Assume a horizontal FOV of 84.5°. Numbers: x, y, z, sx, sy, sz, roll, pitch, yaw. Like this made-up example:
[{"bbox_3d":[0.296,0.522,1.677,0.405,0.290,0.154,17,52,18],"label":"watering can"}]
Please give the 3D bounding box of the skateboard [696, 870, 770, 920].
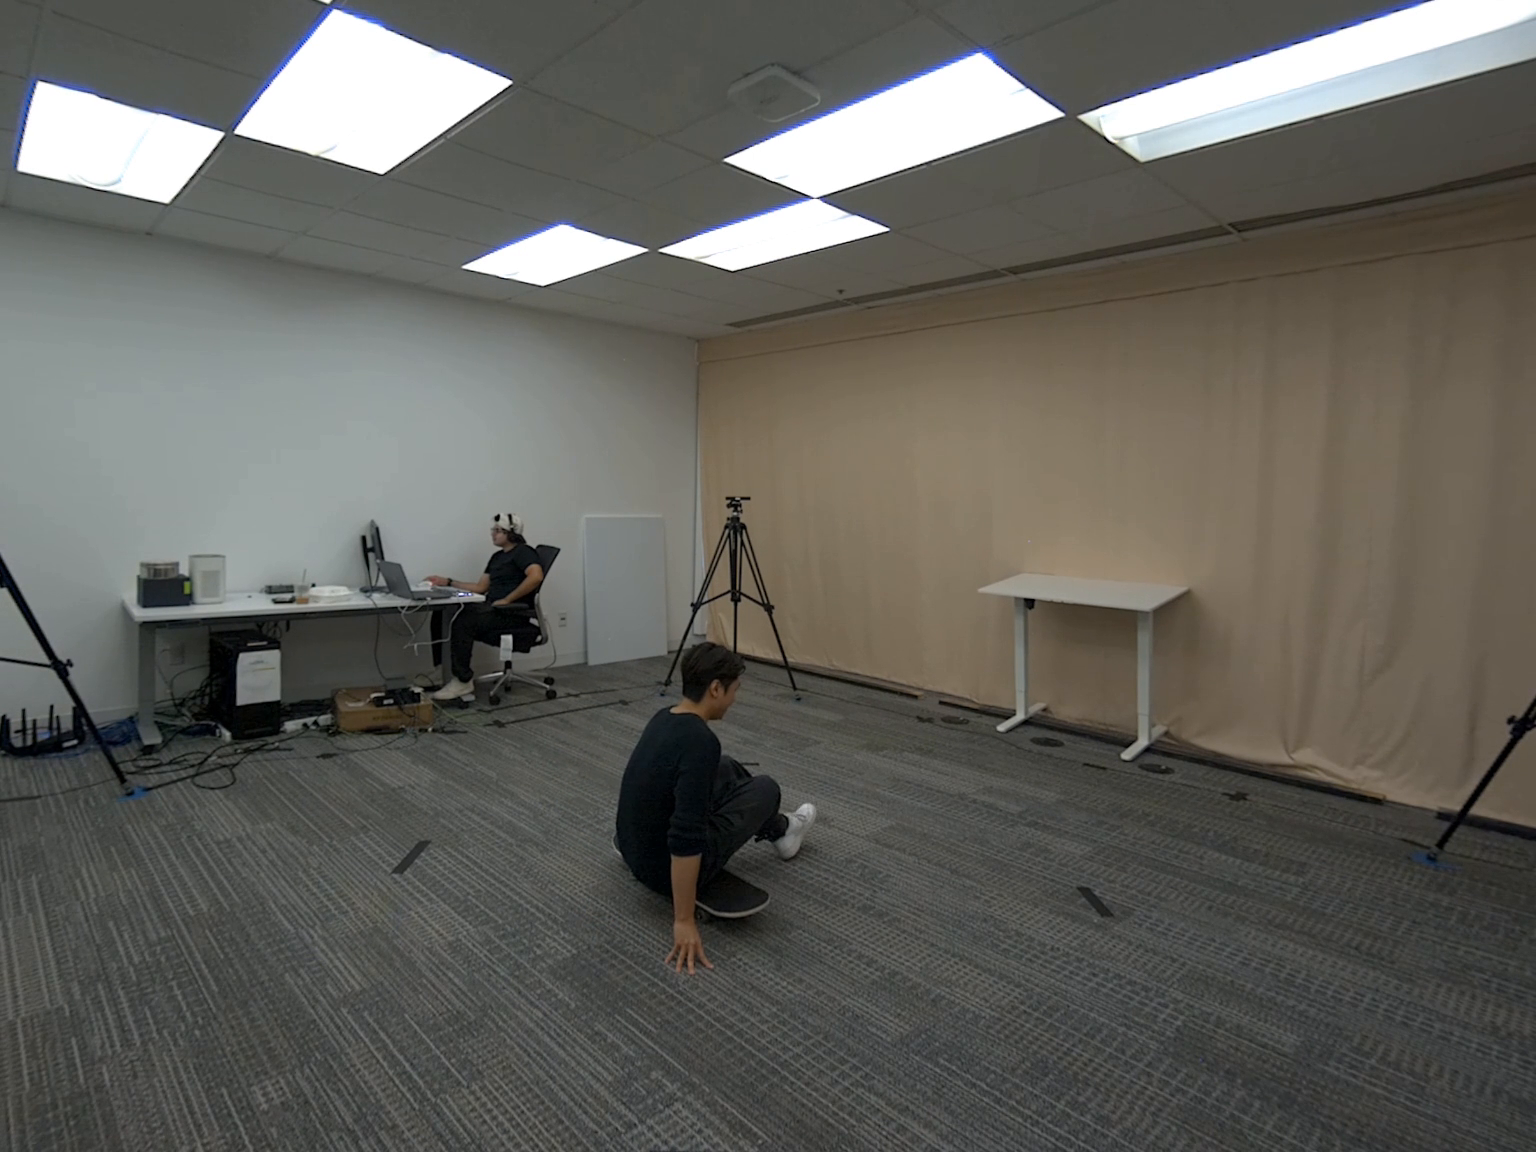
[{"bbox_3d":[-0.301,1.070,2.961,0.189,0.109,0.806,-9,12,-39],"label":"skateboard"}]
